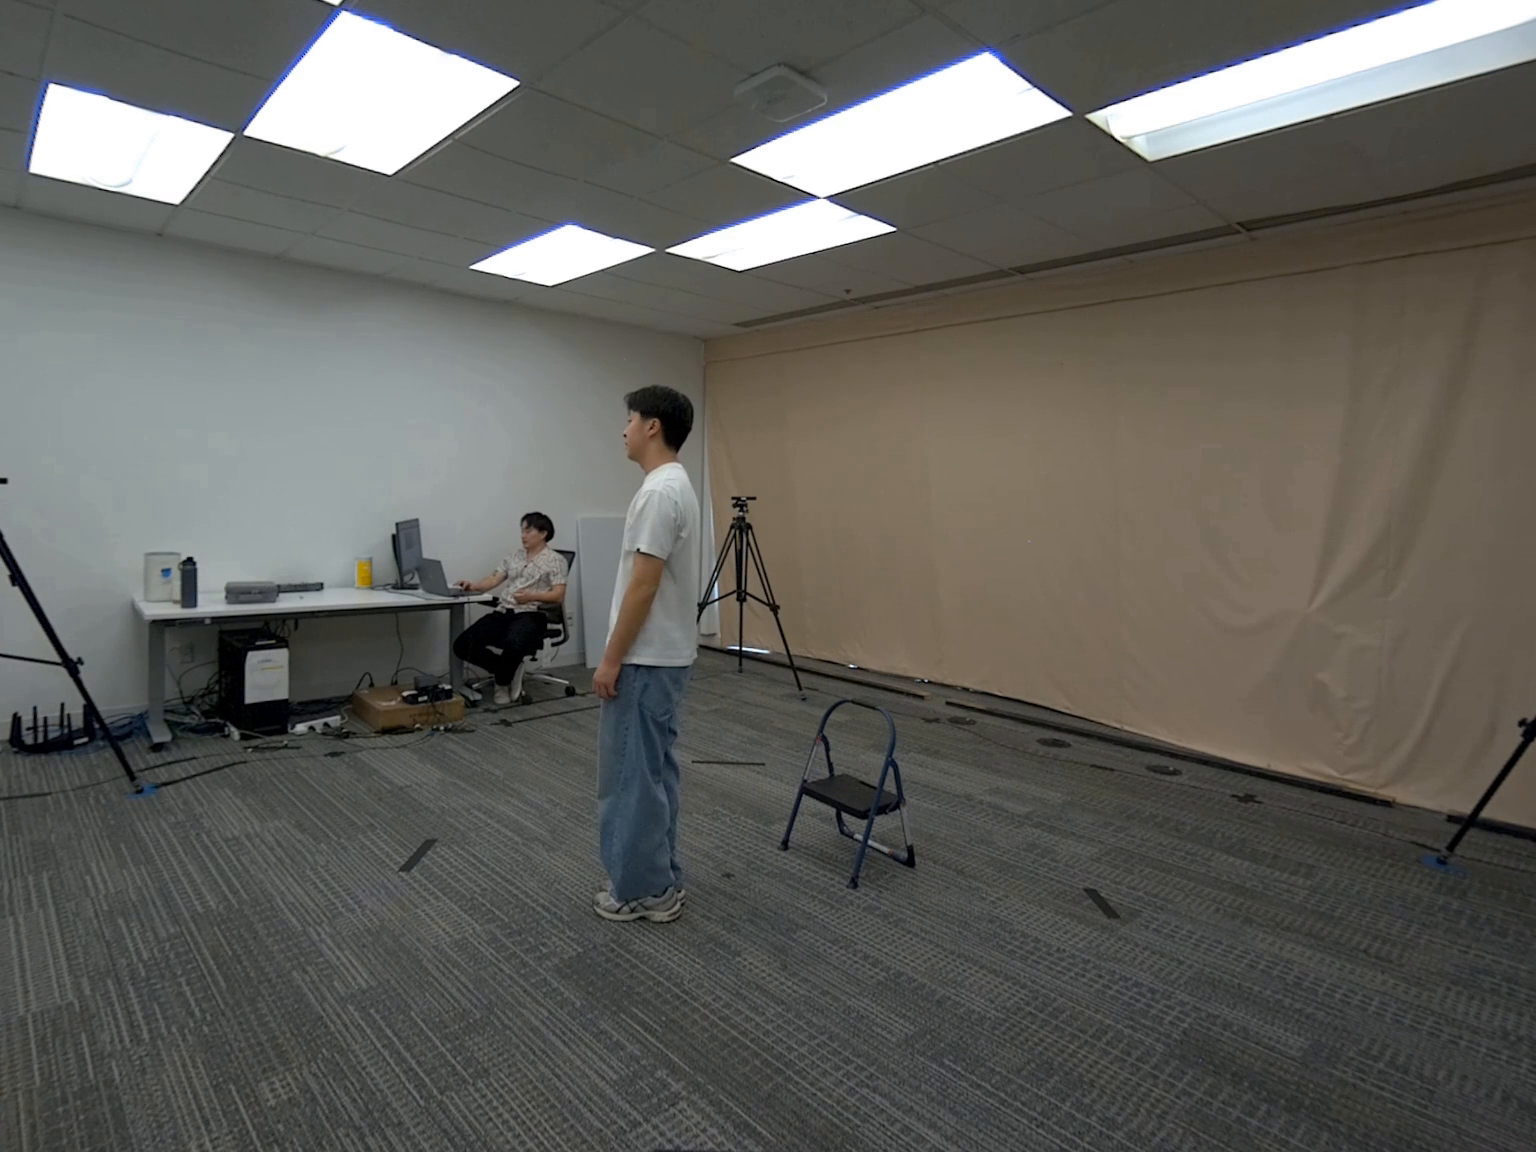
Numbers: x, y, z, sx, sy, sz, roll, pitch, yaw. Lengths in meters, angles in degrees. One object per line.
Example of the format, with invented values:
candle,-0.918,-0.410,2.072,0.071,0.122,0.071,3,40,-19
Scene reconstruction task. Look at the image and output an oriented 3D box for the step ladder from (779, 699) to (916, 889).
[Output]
step ladder,0.309,0.798,3.272,0.341,0.605,0.441,0,4,-37
